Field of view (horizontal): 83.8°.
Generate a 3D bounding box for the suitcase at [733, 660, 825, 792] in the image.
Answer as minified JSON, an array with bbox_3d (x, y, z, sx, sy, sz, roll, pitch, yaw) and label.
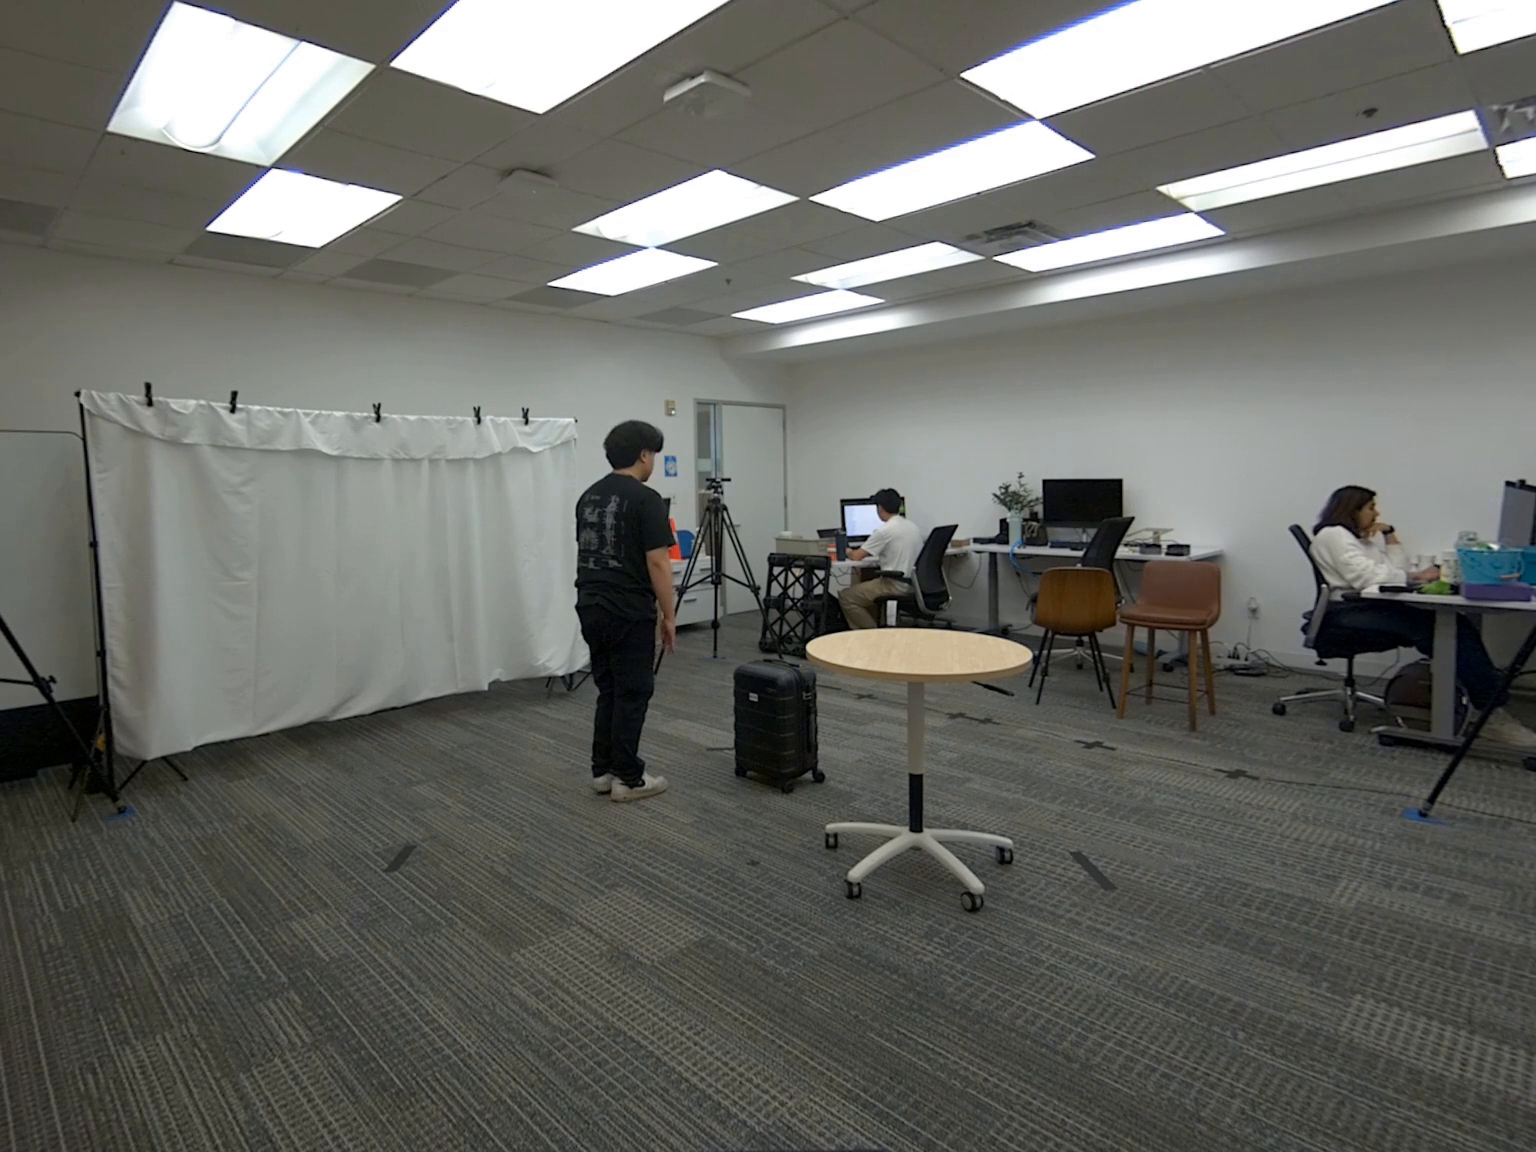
[{"bbox_3d":[0.029,0.669,3.947,0.387,0.547,0.242,3,7,45],"label":"suitcase"}]
